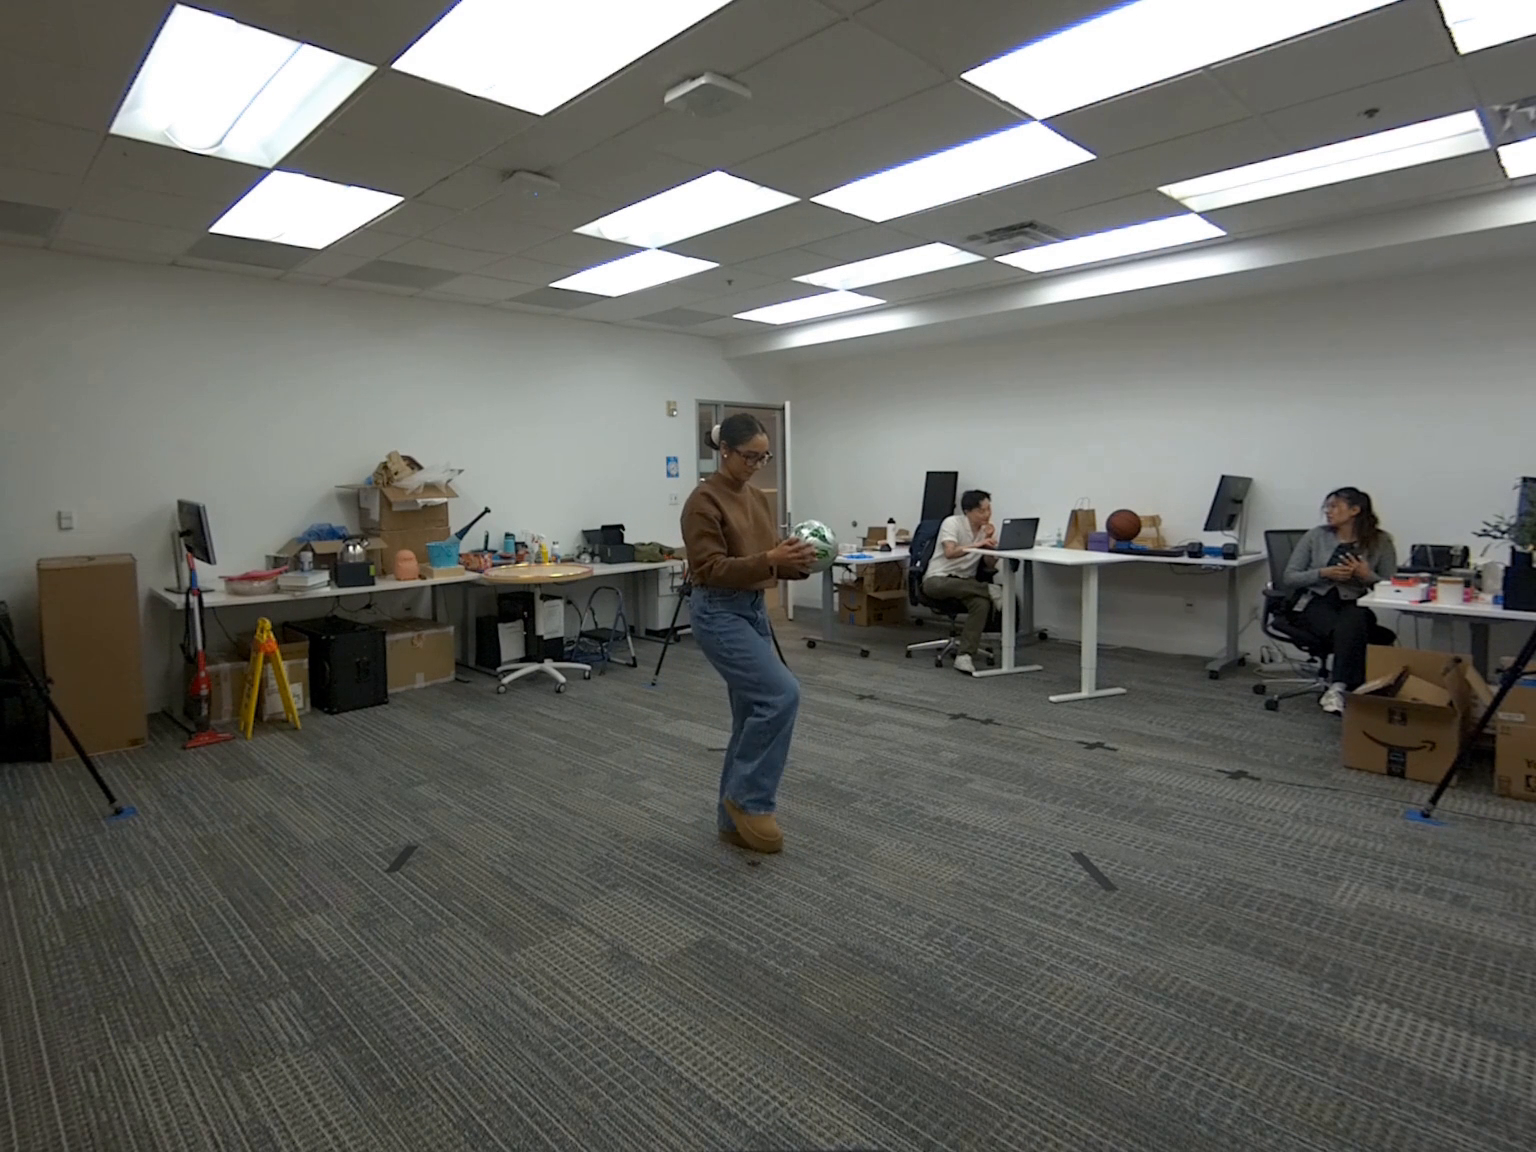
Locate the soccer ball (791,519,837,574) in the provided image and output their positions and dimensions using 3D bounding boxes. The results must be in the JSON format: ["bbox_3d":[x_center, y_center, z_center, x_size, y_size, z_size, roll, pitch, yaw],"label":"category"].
[{"bbox_3d":[0.156,-0.104,2.996,0.187,0.187,0.188,-1,5,-2],"label":"soccer ball"}]
